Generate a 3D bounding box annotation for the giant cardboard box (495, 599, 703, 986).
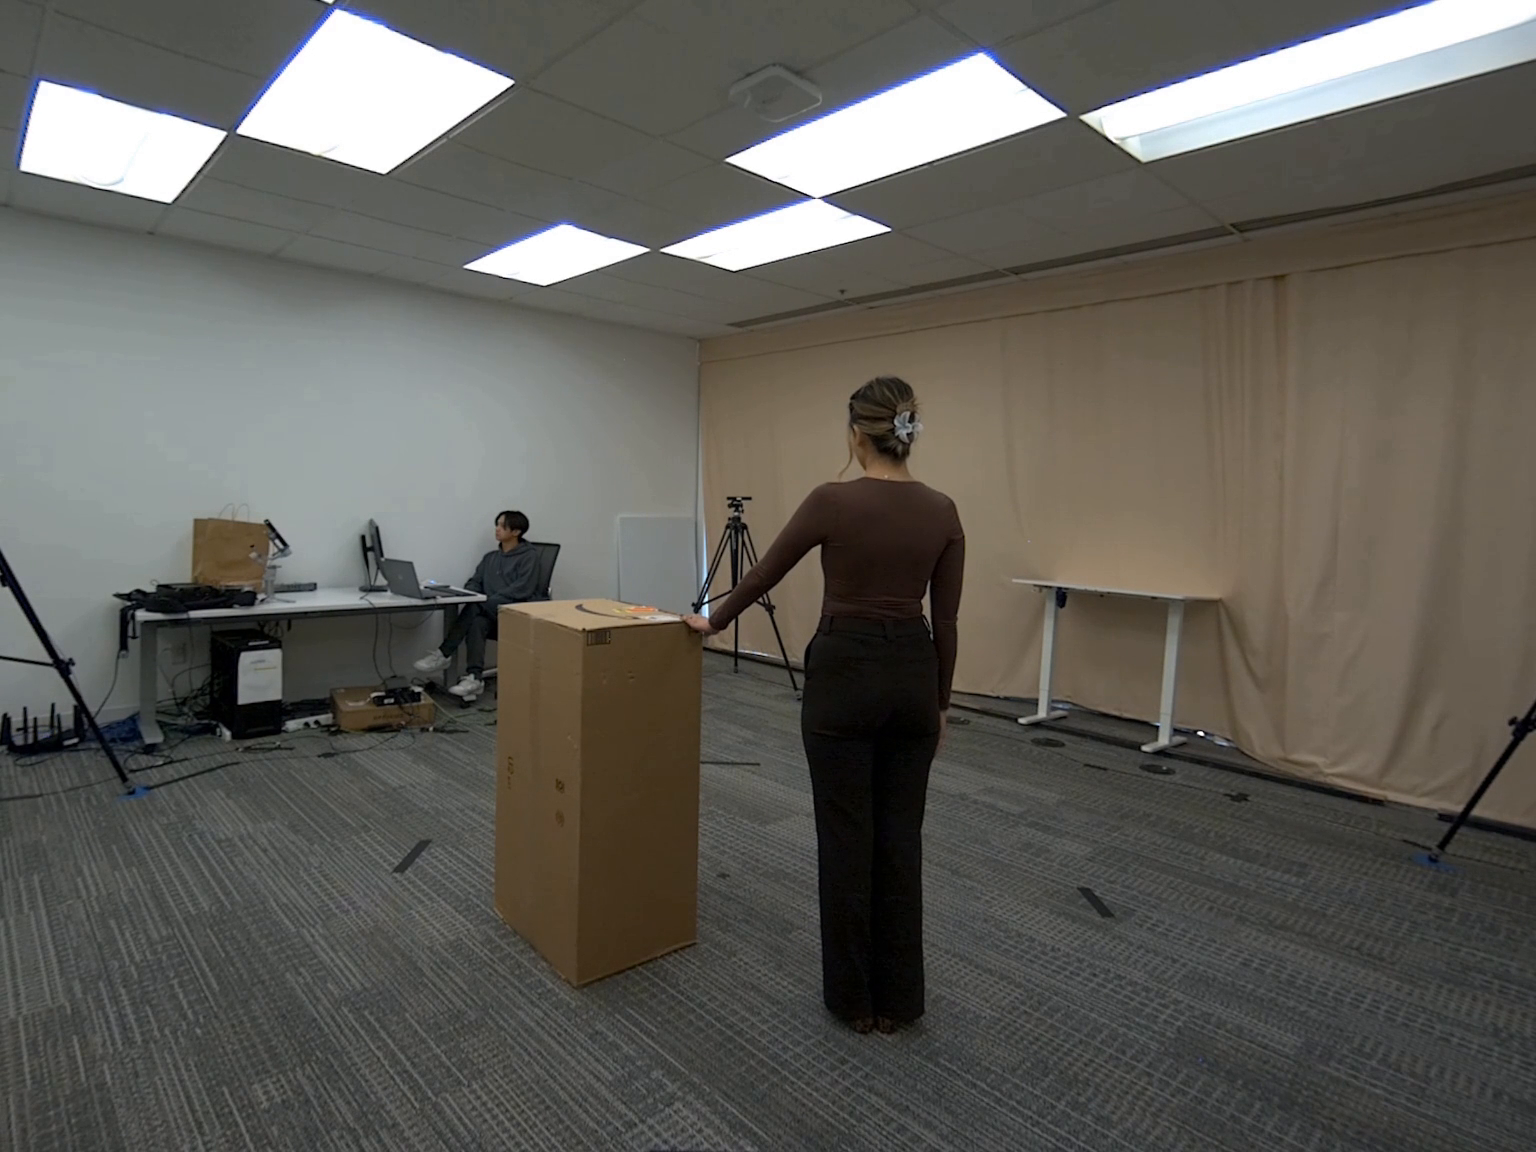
[{"bbox_3d":[-0.560,0.625,2.696,0.436,1.025,0.598,0,3,-38],"label":"giant cardboard box"}]
